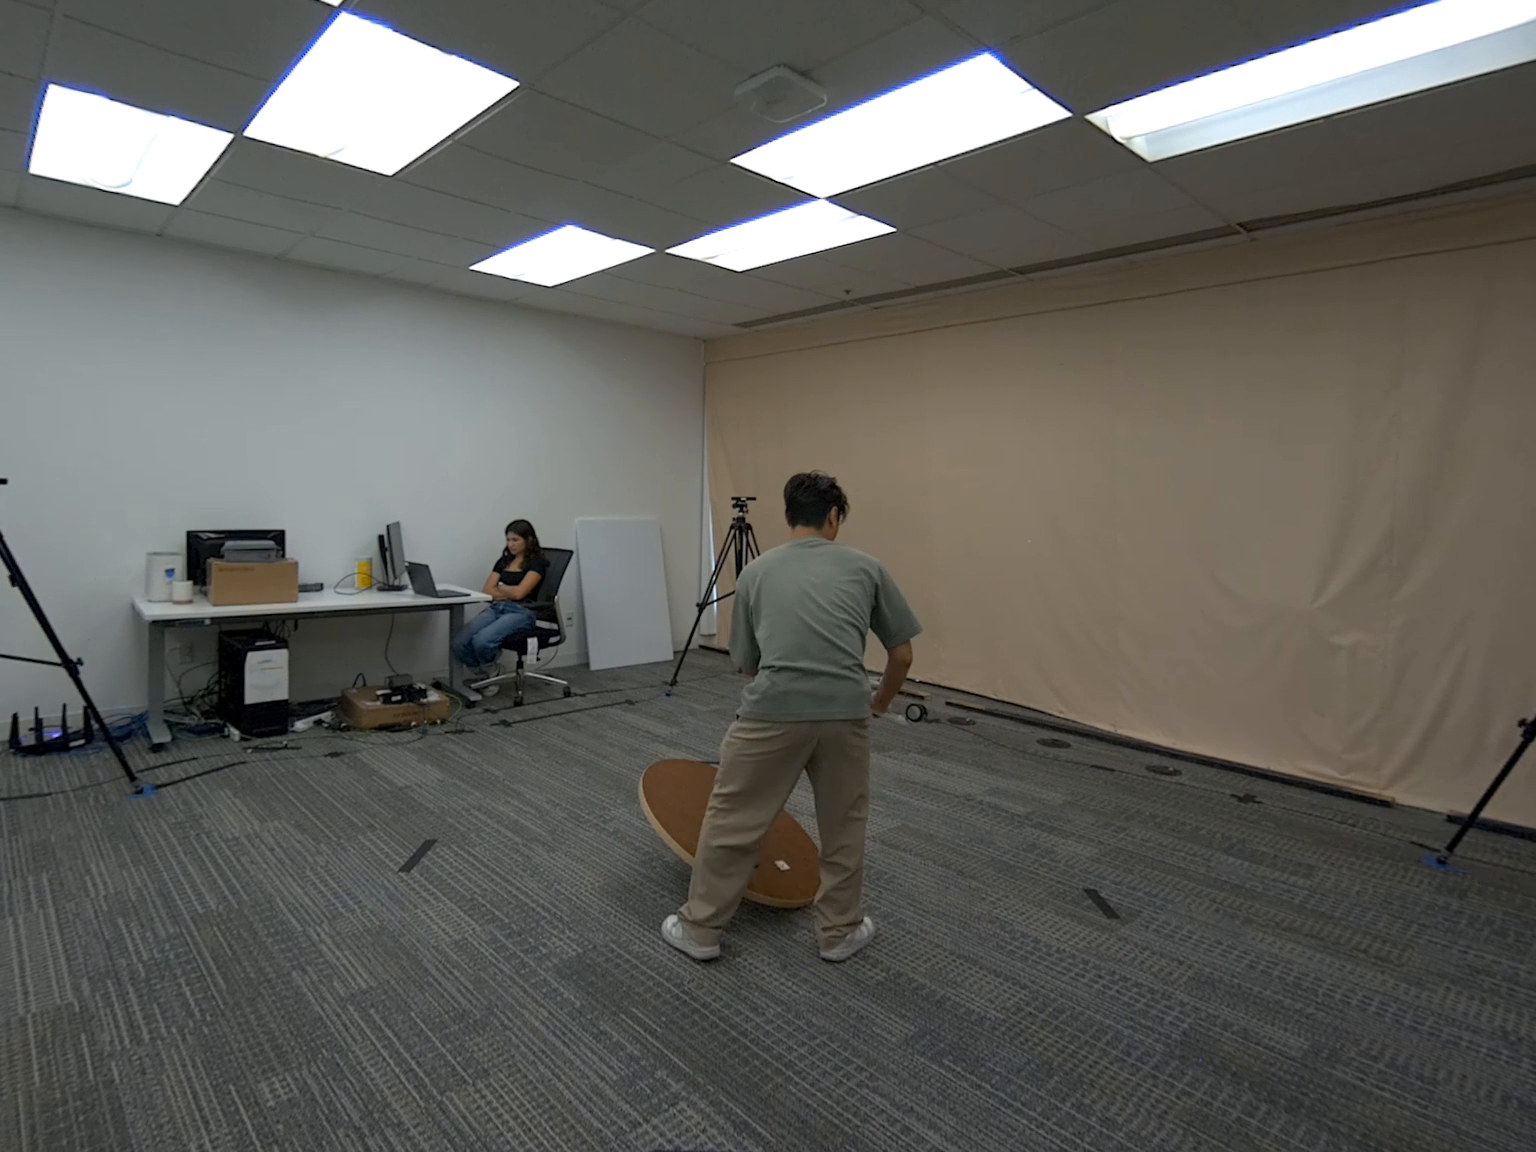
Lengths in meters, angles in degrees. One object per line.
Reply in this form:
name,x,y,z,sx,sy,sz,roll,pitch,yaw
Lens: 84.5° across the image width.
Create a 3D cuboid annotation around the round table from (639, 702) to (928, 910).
round table,0.050,0.598,3.022,0.780,0.784,0.792,28,10,-7
